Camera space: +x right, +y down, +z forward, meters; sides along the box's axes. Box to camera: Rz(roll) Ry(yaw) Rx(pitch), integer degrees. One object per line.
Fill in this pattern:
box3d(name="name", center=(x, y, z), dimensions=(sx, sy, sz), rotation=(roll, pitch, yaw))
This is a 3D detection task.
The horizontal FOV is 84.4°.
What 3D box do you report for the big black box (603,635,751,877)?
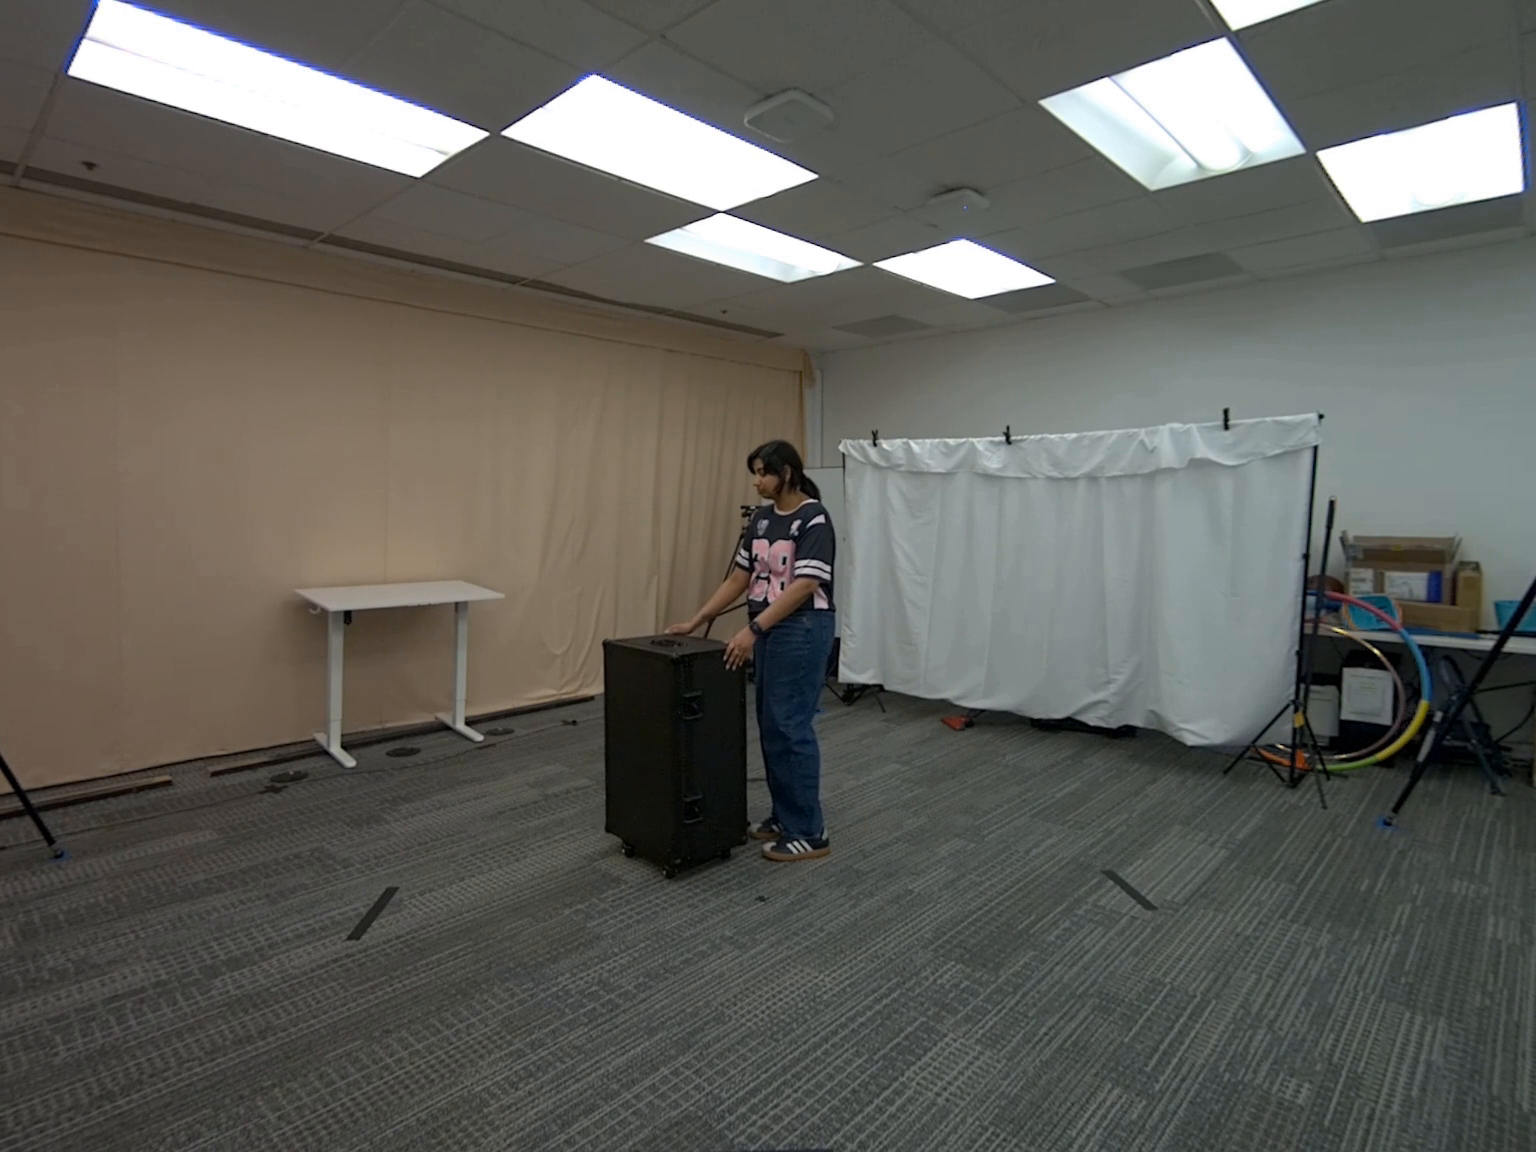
box3d(name="big black box", center=(-0.375, 0.695, 3.362), dimensions=(0.373, 0.867, 0.541), rotation=(-2, 4, -41))
